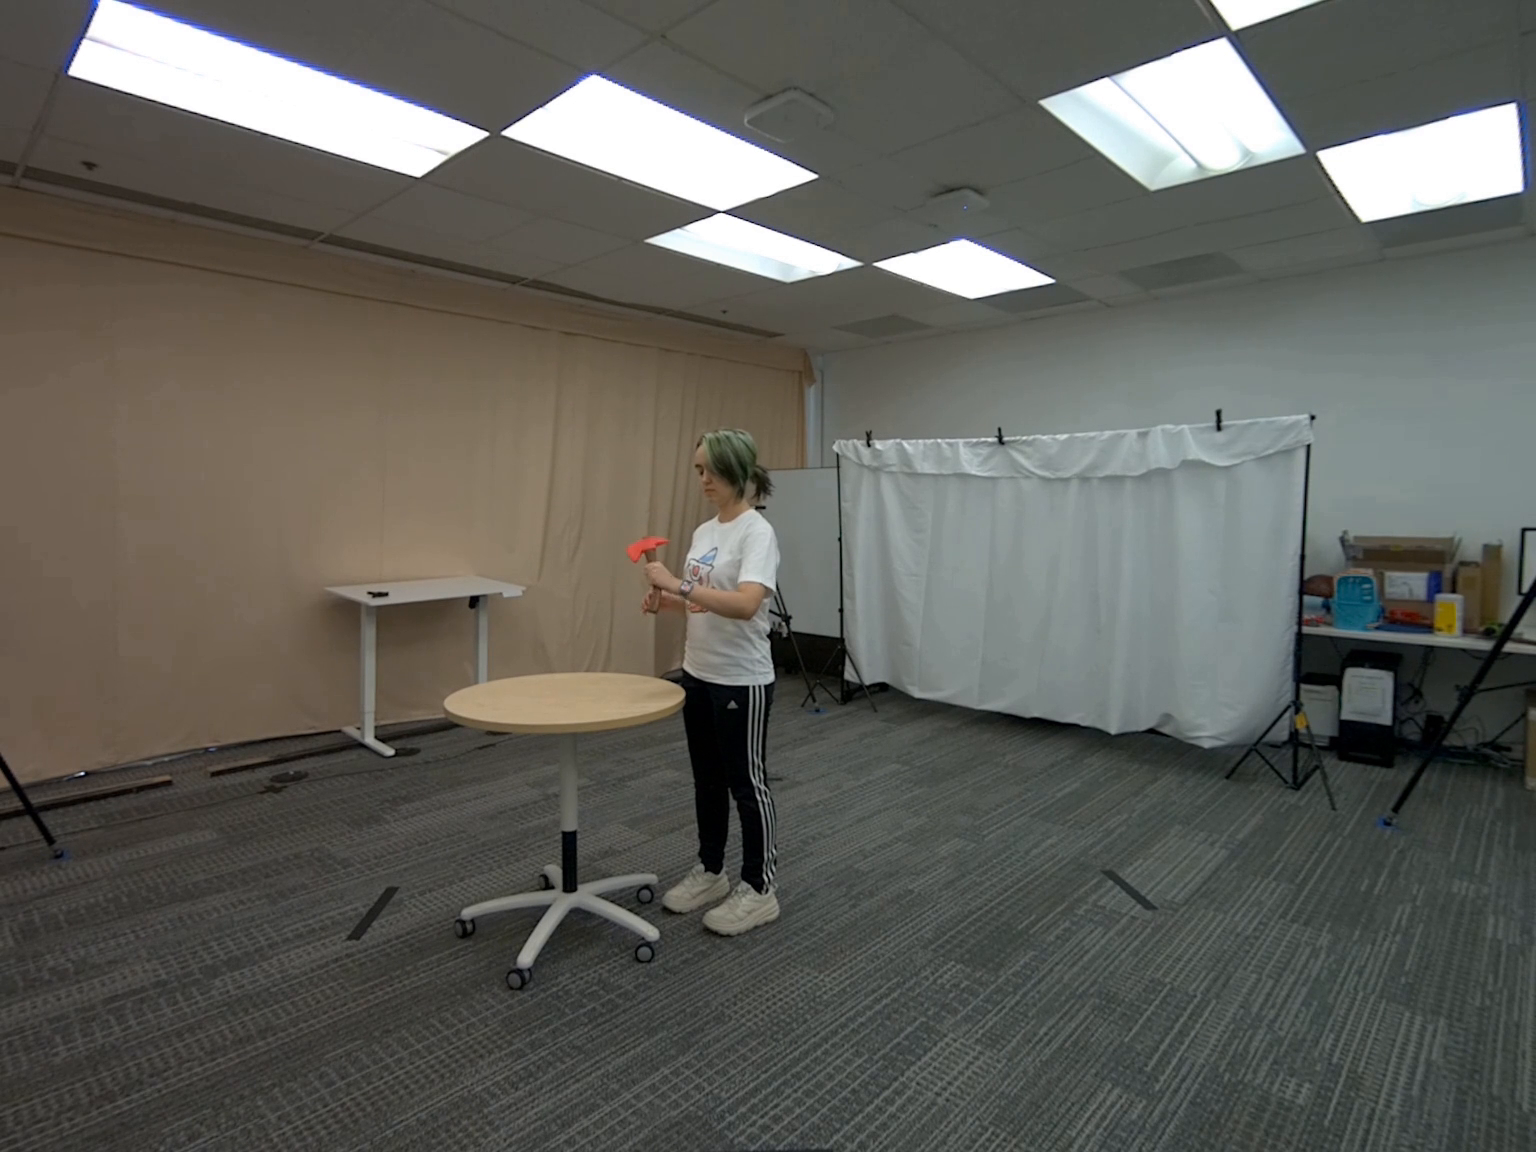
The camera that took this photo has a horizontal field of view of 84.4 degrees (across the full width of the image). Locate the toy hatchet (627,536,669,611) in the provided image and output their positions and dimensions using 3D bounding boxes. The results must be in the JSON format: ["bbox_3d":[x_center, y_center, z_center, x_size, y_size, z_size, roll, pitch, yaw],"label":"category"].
[{"bbox_3d":[-0.372,0.000,2.587,0.131,0.274,0.029,1,-34,3],"label":"toy hatchet"}]
